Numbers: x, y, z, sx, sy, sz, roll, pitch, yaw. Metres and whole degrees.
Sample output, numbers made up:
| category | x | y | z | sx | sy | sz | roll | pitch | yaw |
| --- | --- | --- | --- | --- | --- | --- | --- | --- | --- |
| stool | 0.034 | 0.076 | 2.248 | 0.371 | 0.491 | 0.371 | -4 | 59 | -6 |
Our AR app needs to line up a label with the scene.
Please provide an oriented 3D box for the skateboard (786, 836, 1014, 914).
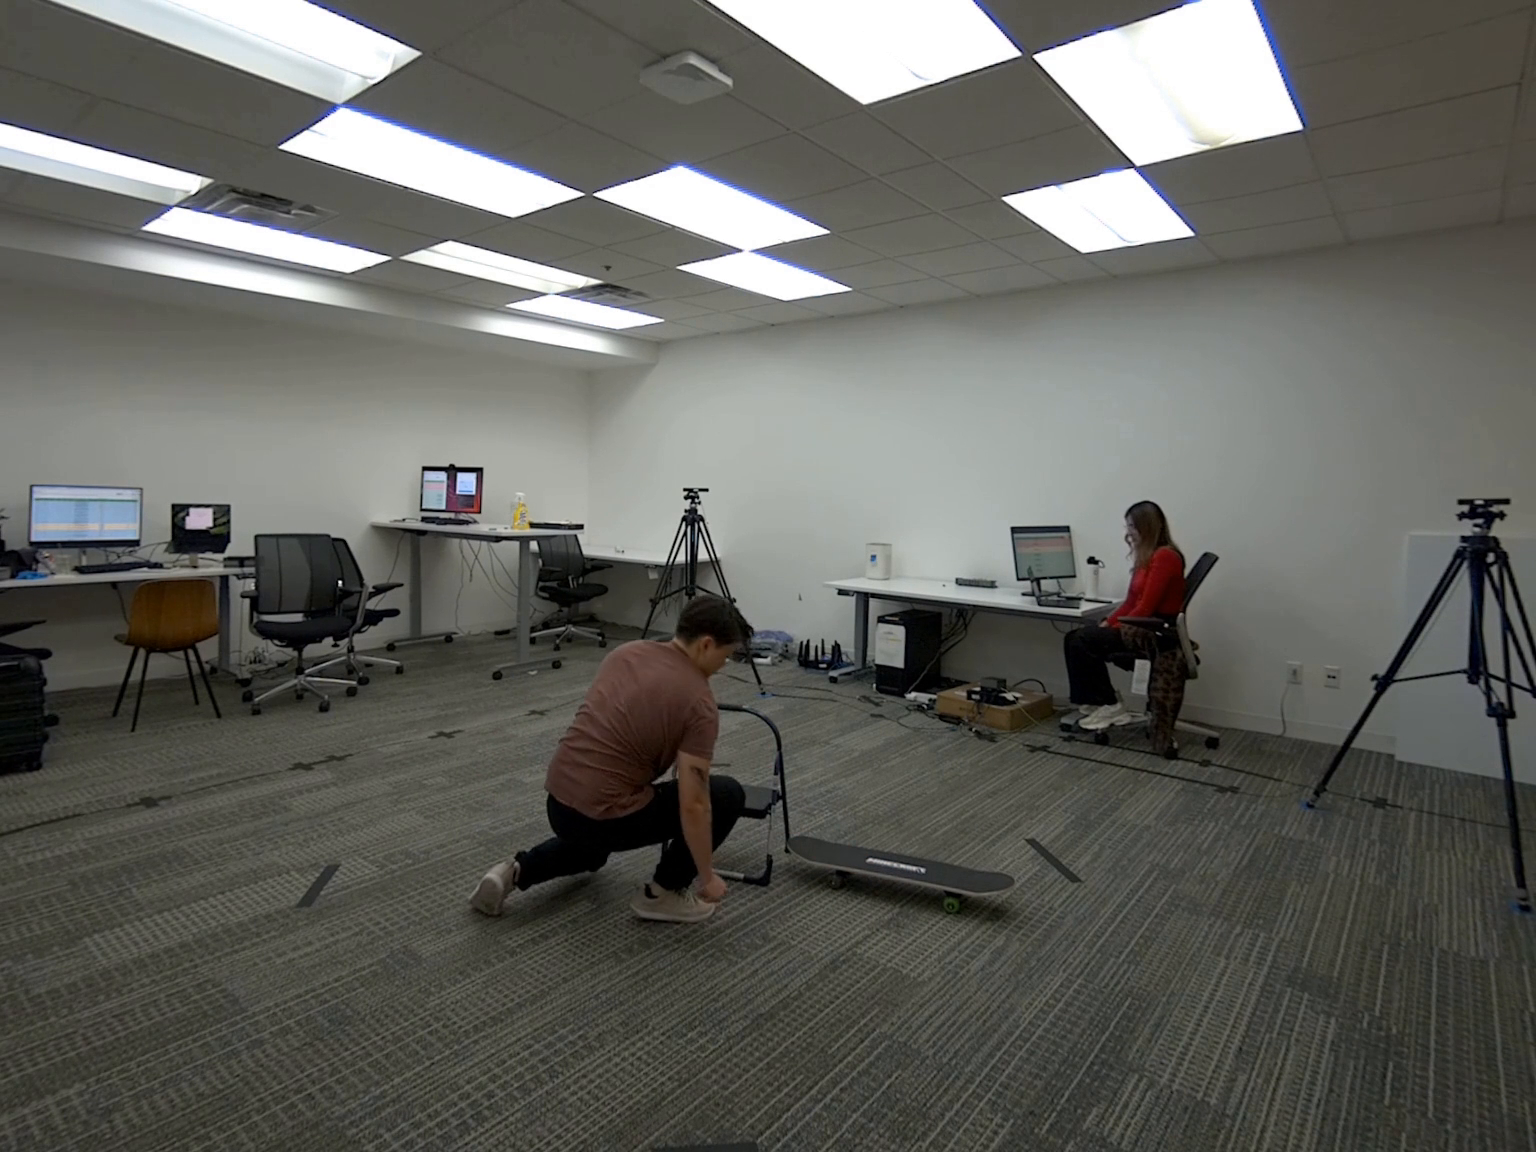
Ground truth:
| category | x | y | z | sx | sy | sz | roll | pitch | yaw |
| --- | --- | --- | --- | --- | --- | --- | --- | --- | --- |
| skateboard | 0.442 | 1.044 | 2.971 | 0.803 | 0.110 | 0.190 | 4 | 5 | 21 |
